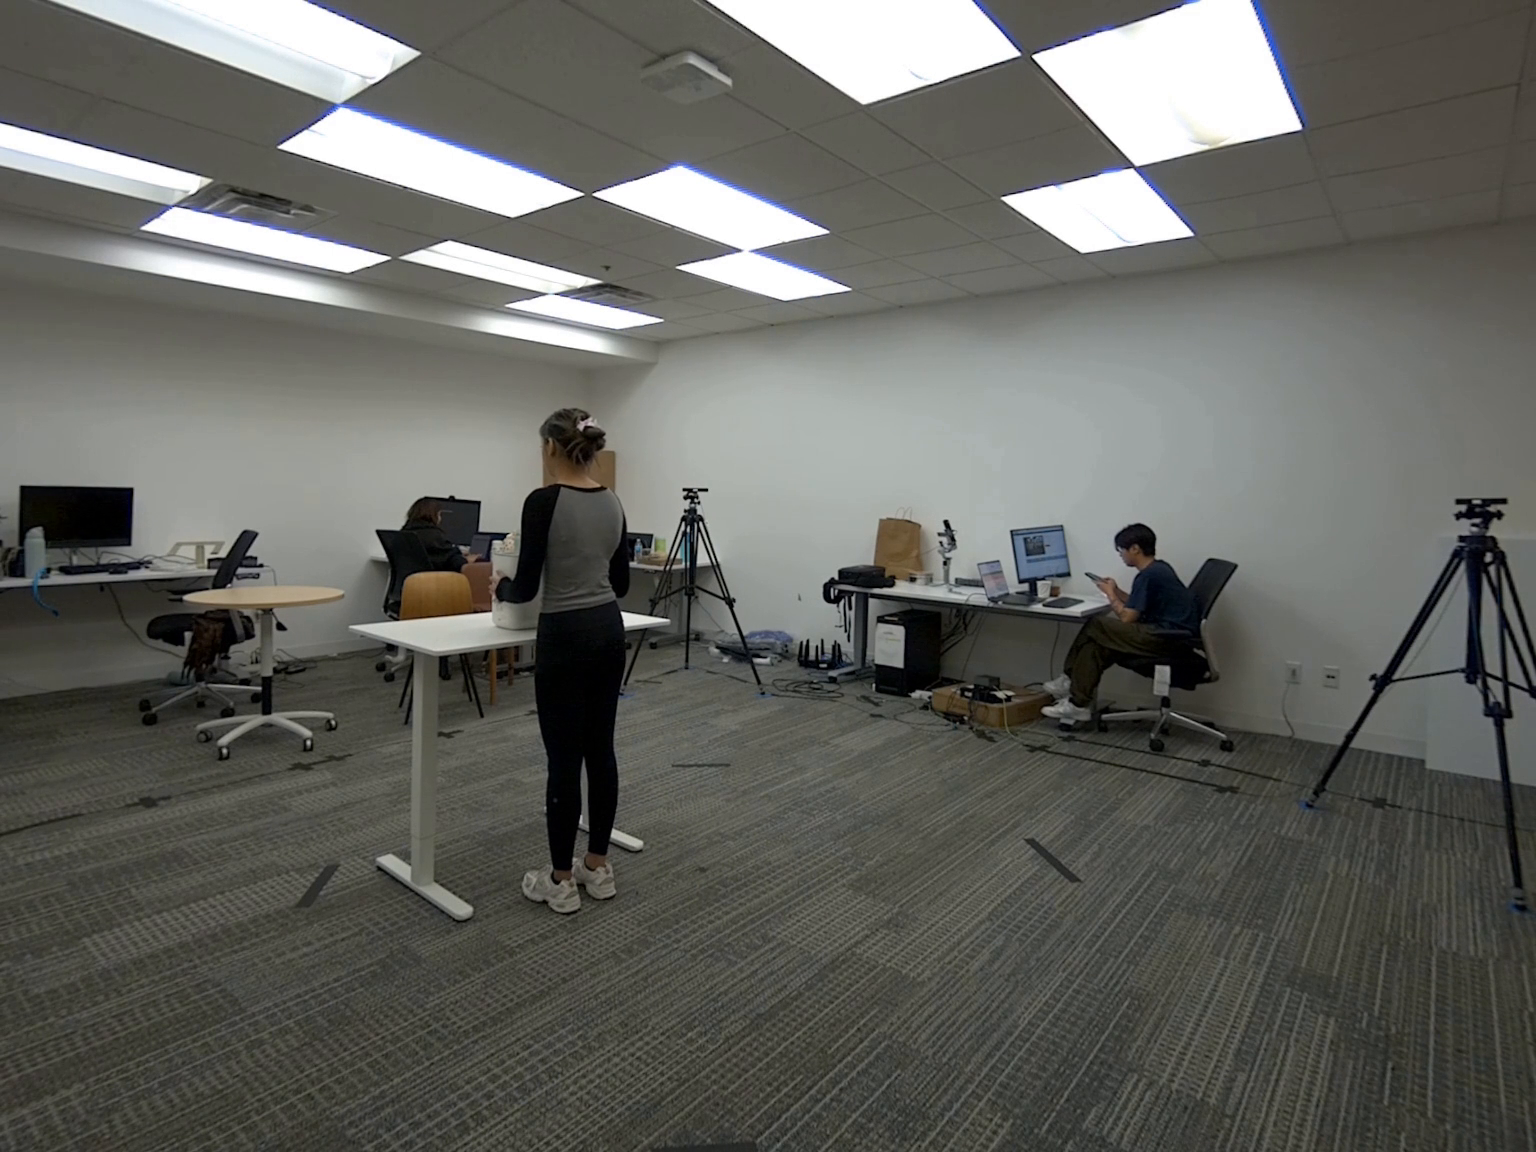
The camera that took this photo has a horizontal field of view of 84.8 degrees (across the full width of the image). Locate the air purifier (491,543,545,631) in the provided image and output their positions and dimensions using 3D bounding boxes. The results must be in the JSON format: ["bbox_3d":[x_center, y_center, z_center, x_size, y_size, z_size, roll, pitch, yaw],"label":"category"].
[{"bbox_3d":[-0.905,0.050,3.067,0.177,0.265,0.166,4,2,40],"label":"air purifier"}]
